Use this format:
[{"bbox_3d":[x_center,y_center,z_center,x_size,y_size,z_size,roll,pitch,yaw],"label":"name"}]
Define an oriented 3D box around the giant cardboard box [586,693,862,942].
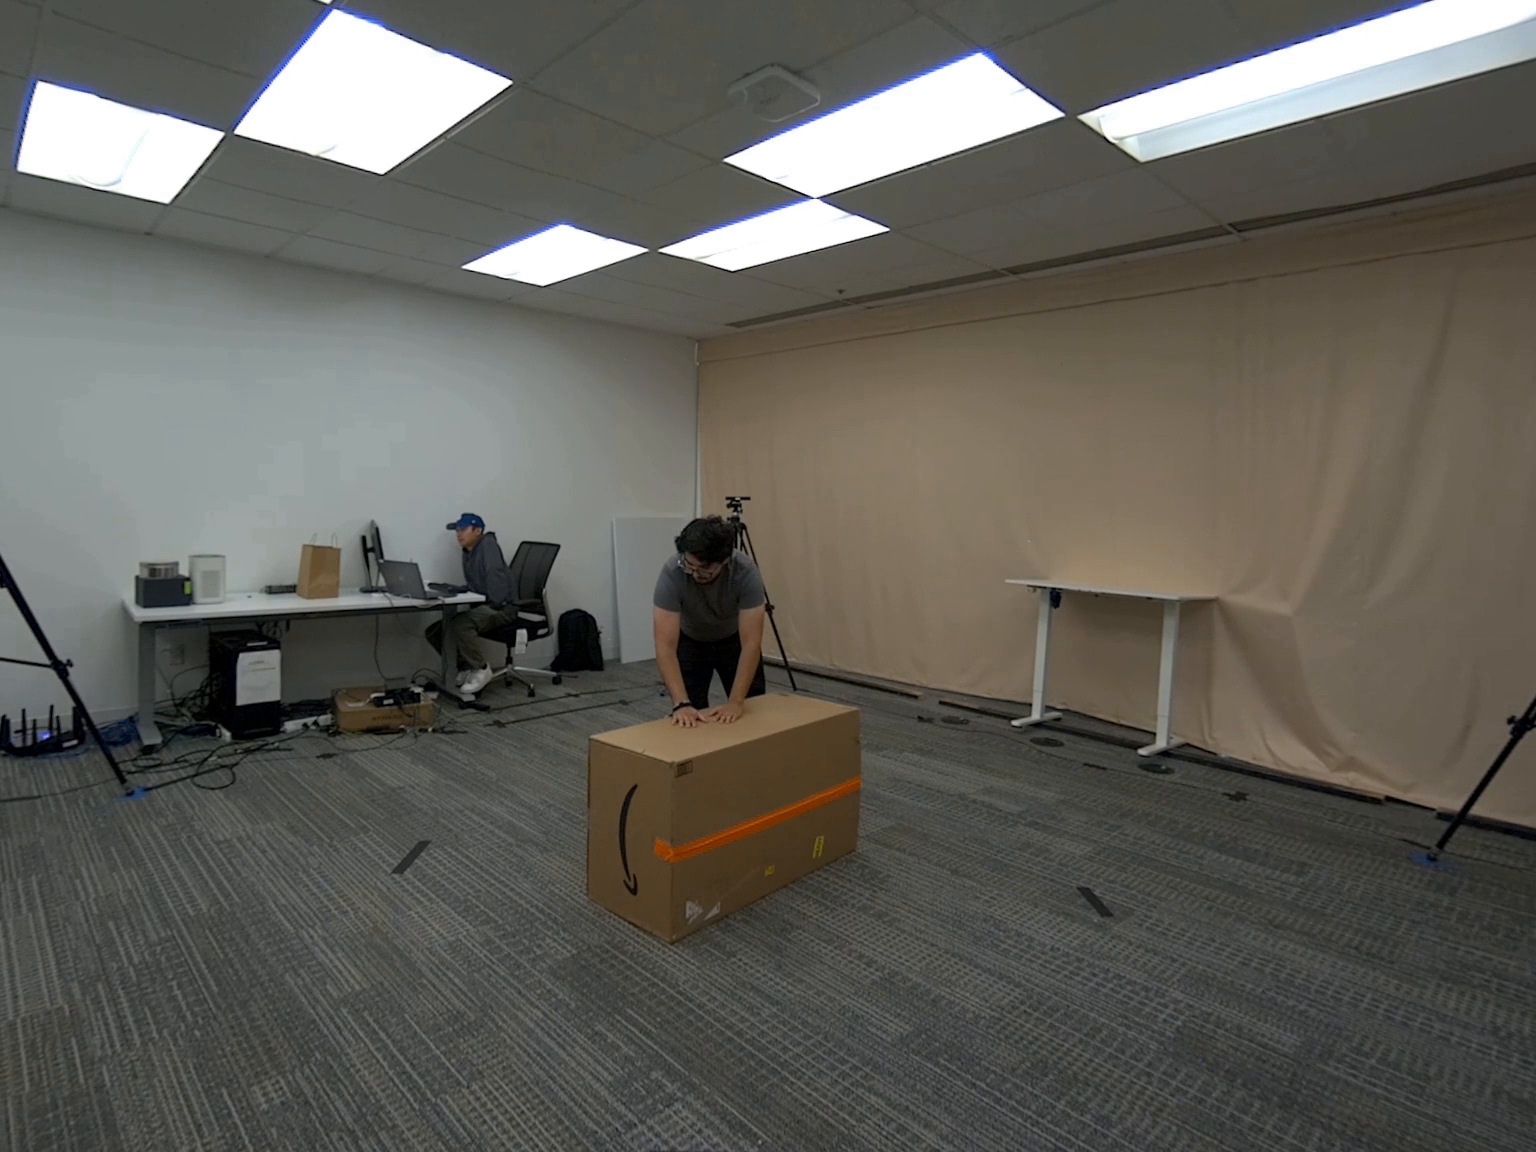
[{"bbox_3d":[-0.132,0.819,3.107,0.437,0.576,1.003,5,6,41],"label":"giant cardboard box"}]
